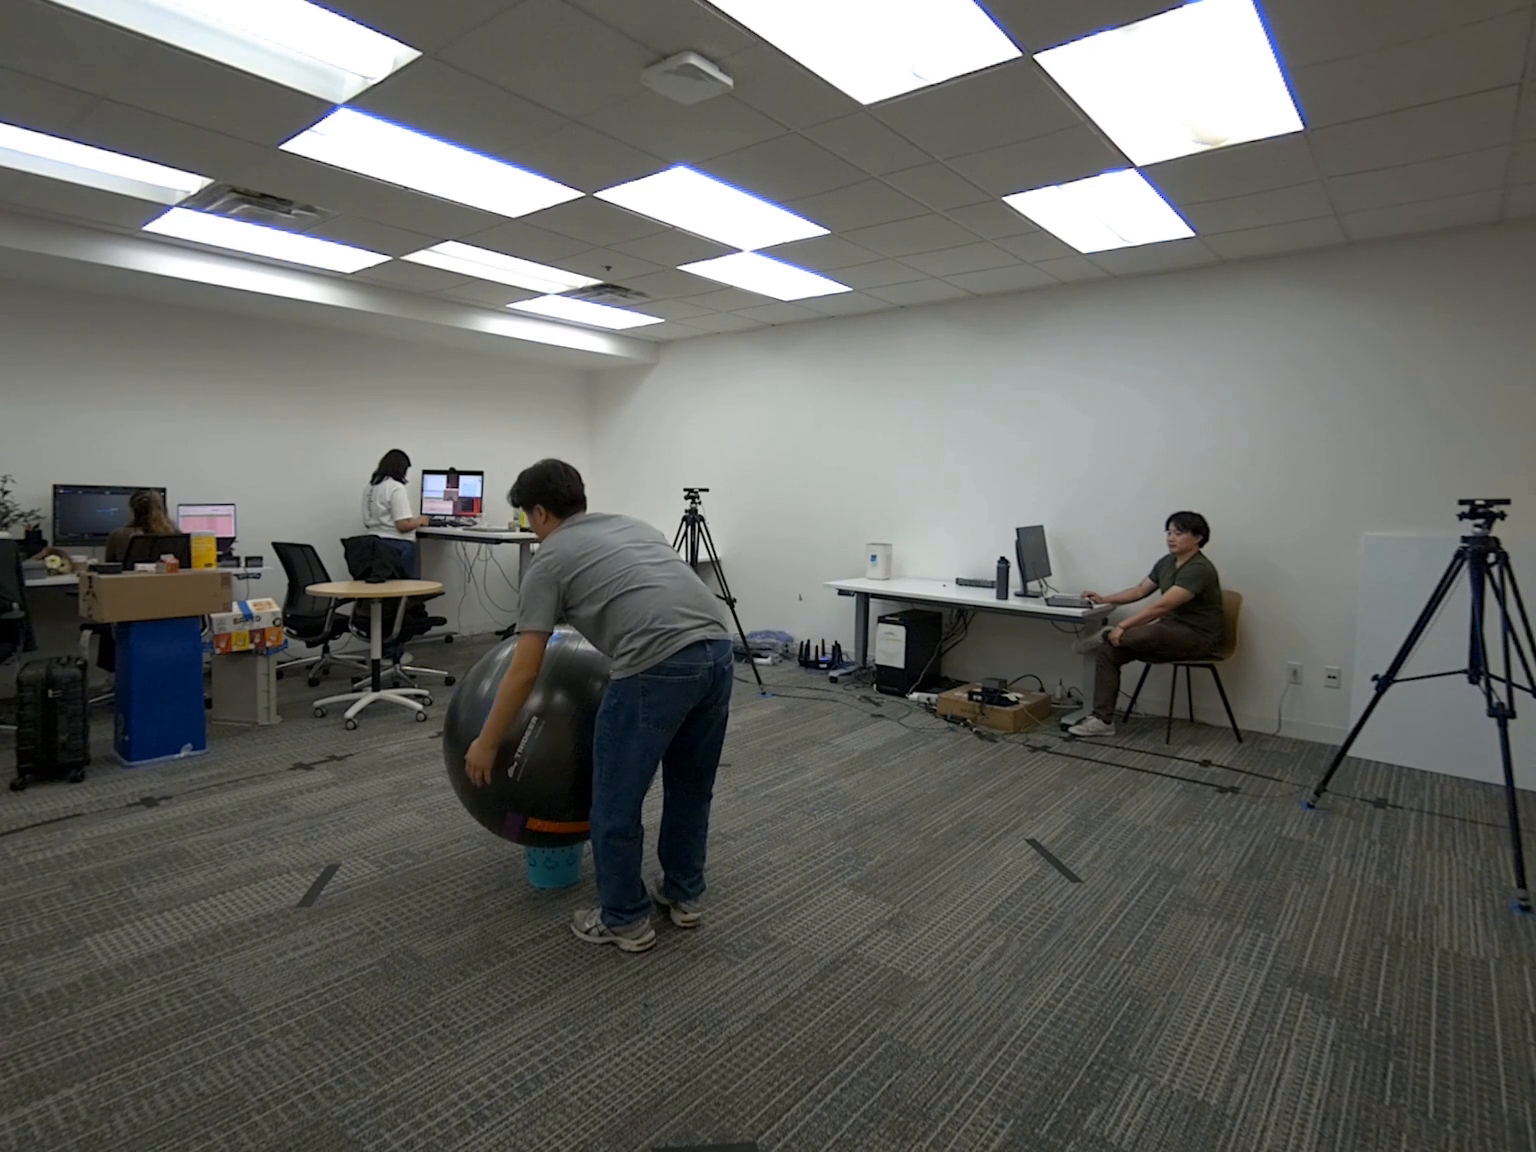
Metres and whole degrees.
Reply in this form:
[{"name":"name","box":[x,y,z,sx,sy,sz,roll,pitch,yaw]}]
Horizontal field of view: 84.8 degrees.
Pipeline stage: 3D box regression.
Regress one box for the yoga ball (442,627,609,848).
[{"name":"yoga ball","box":[-0.768,0.561,3.008,0.757,0.755,0.762,1,4,-2]}]
